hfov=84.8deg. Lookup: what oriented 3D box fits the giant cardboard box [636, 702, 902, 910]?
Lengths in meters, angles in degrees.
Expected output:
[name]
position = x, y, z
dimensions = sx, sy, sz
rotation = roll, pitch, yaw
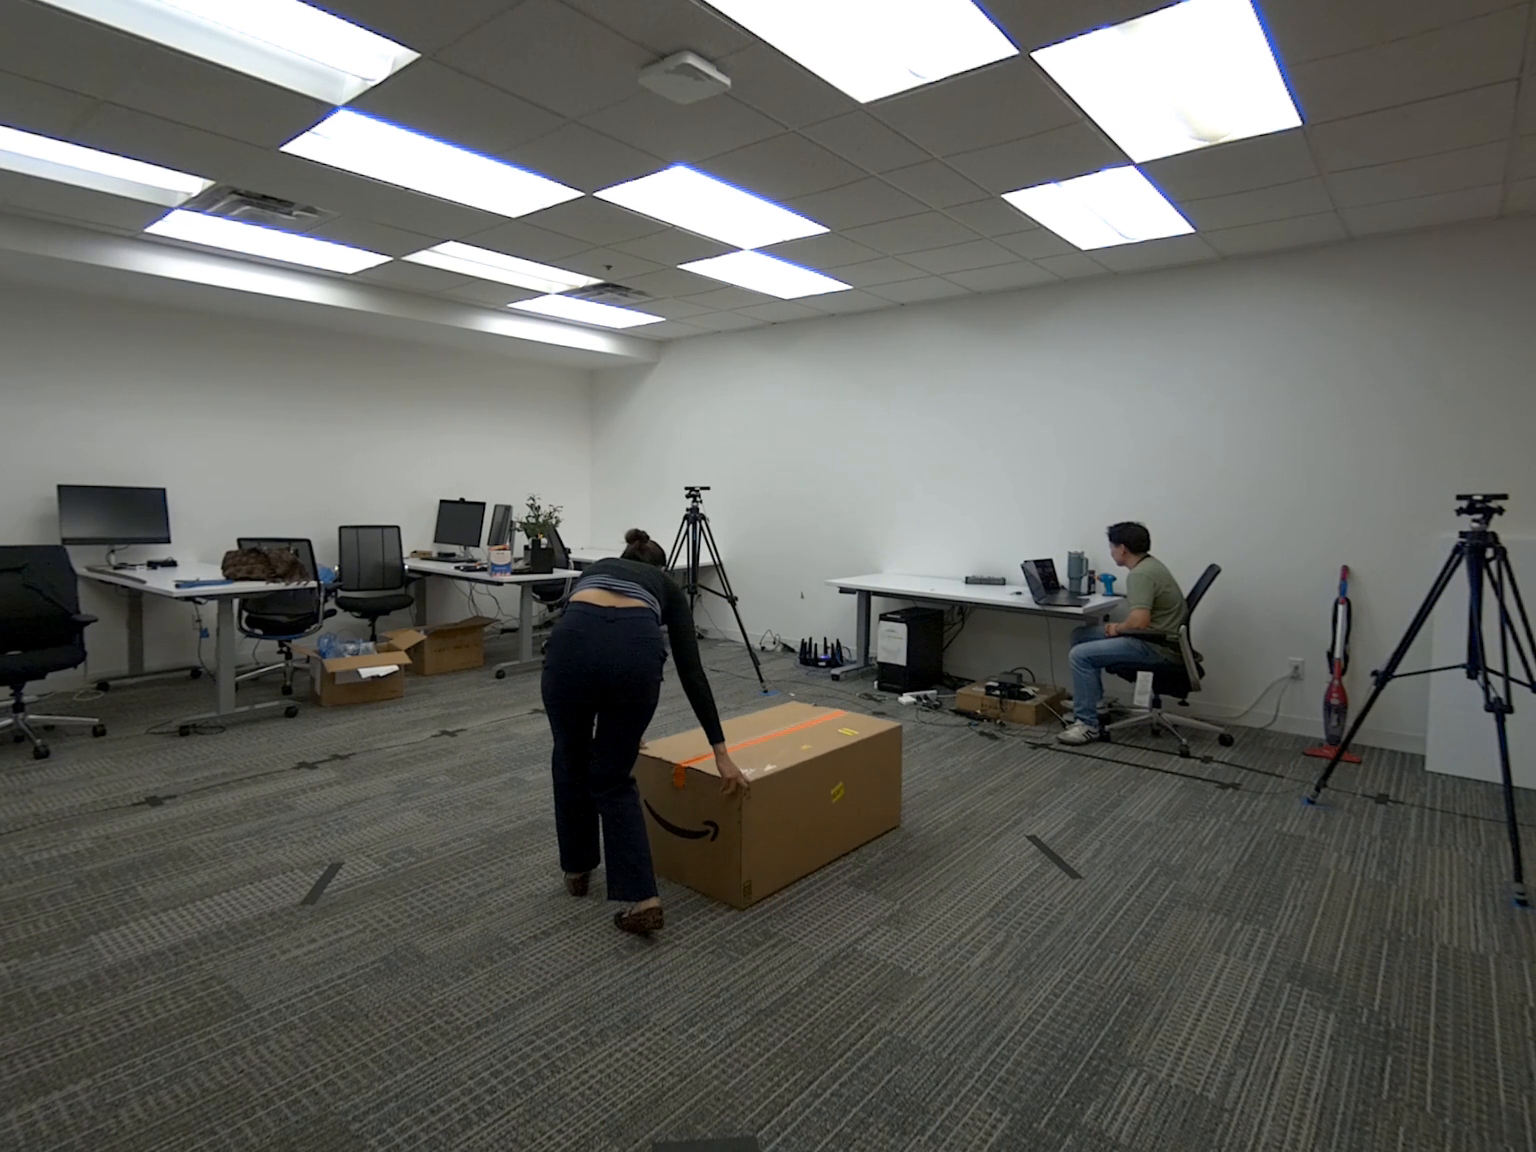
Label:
[giant cardboard box]
position = 0.004, 0.832, 3.336
dimensions = 0.597, 0.424, 0.996
rotation = 5, 7, 40
